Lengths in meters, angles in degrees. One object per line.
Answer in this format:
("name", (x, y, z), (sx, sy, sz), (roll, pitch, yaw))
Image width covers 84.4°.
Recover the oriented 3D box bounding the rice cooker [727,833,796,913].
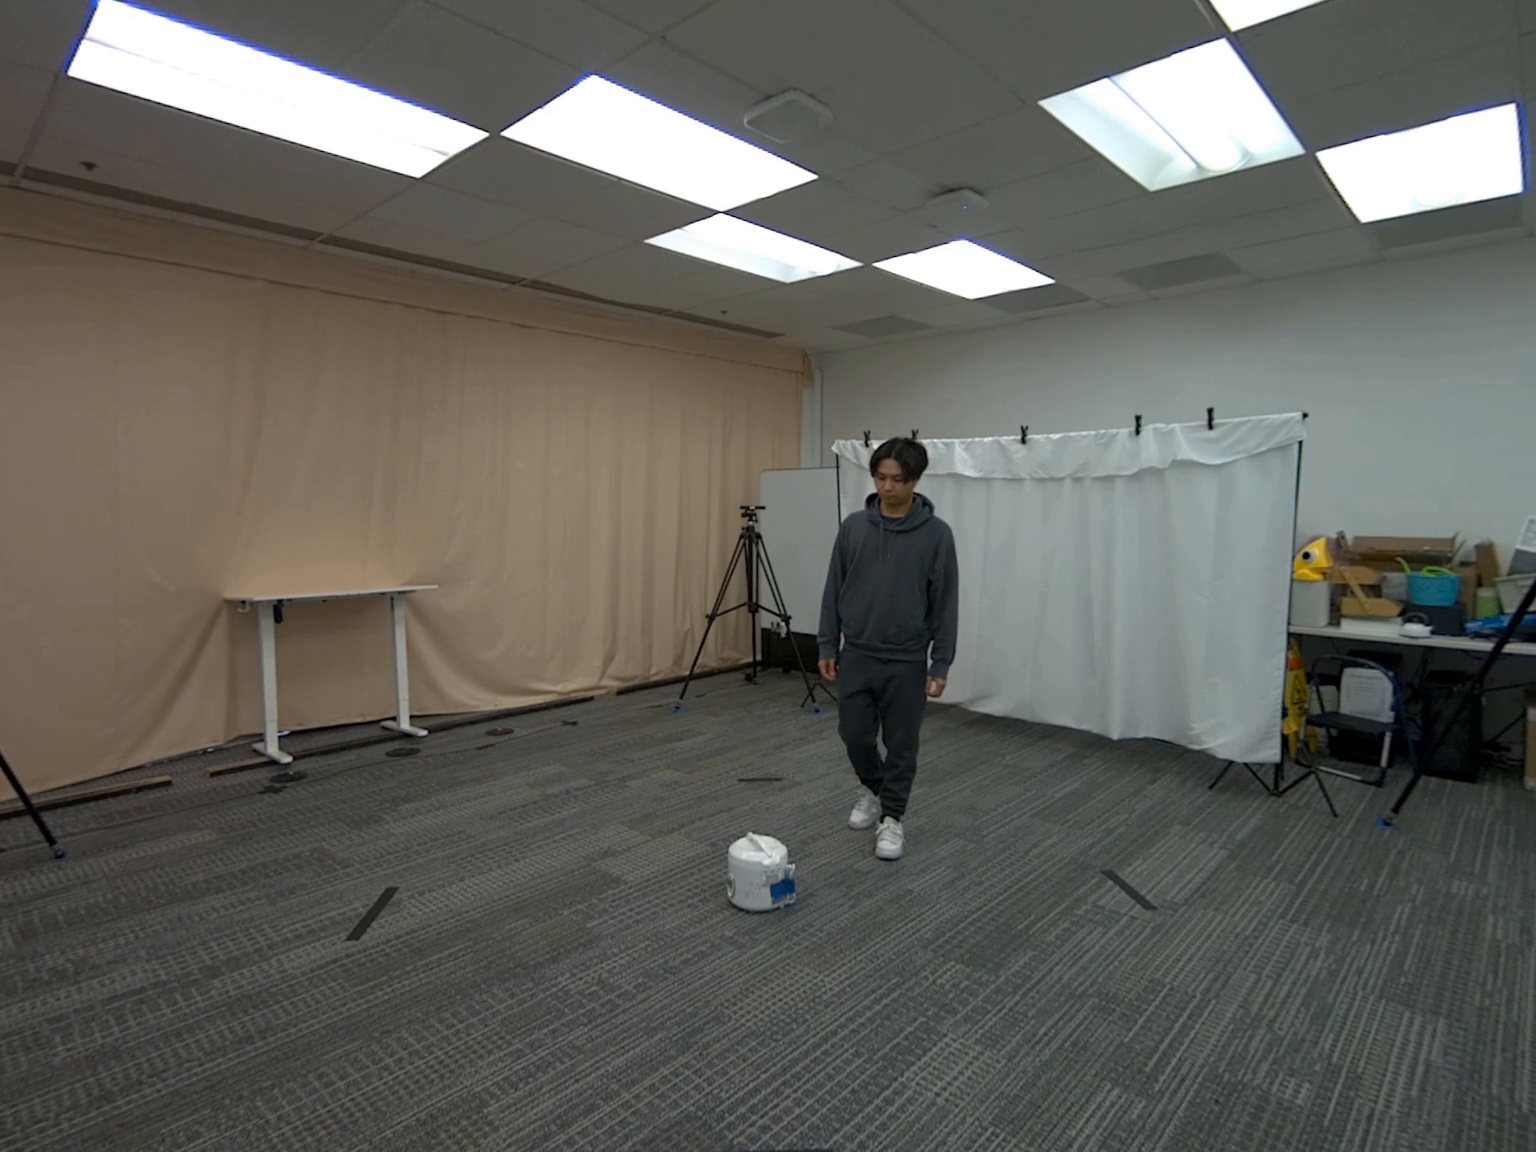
("rice cooker", (-0.032, 1.029, 2.953), (0.212, 0.232, 0.226), (-1, 4, -25))
